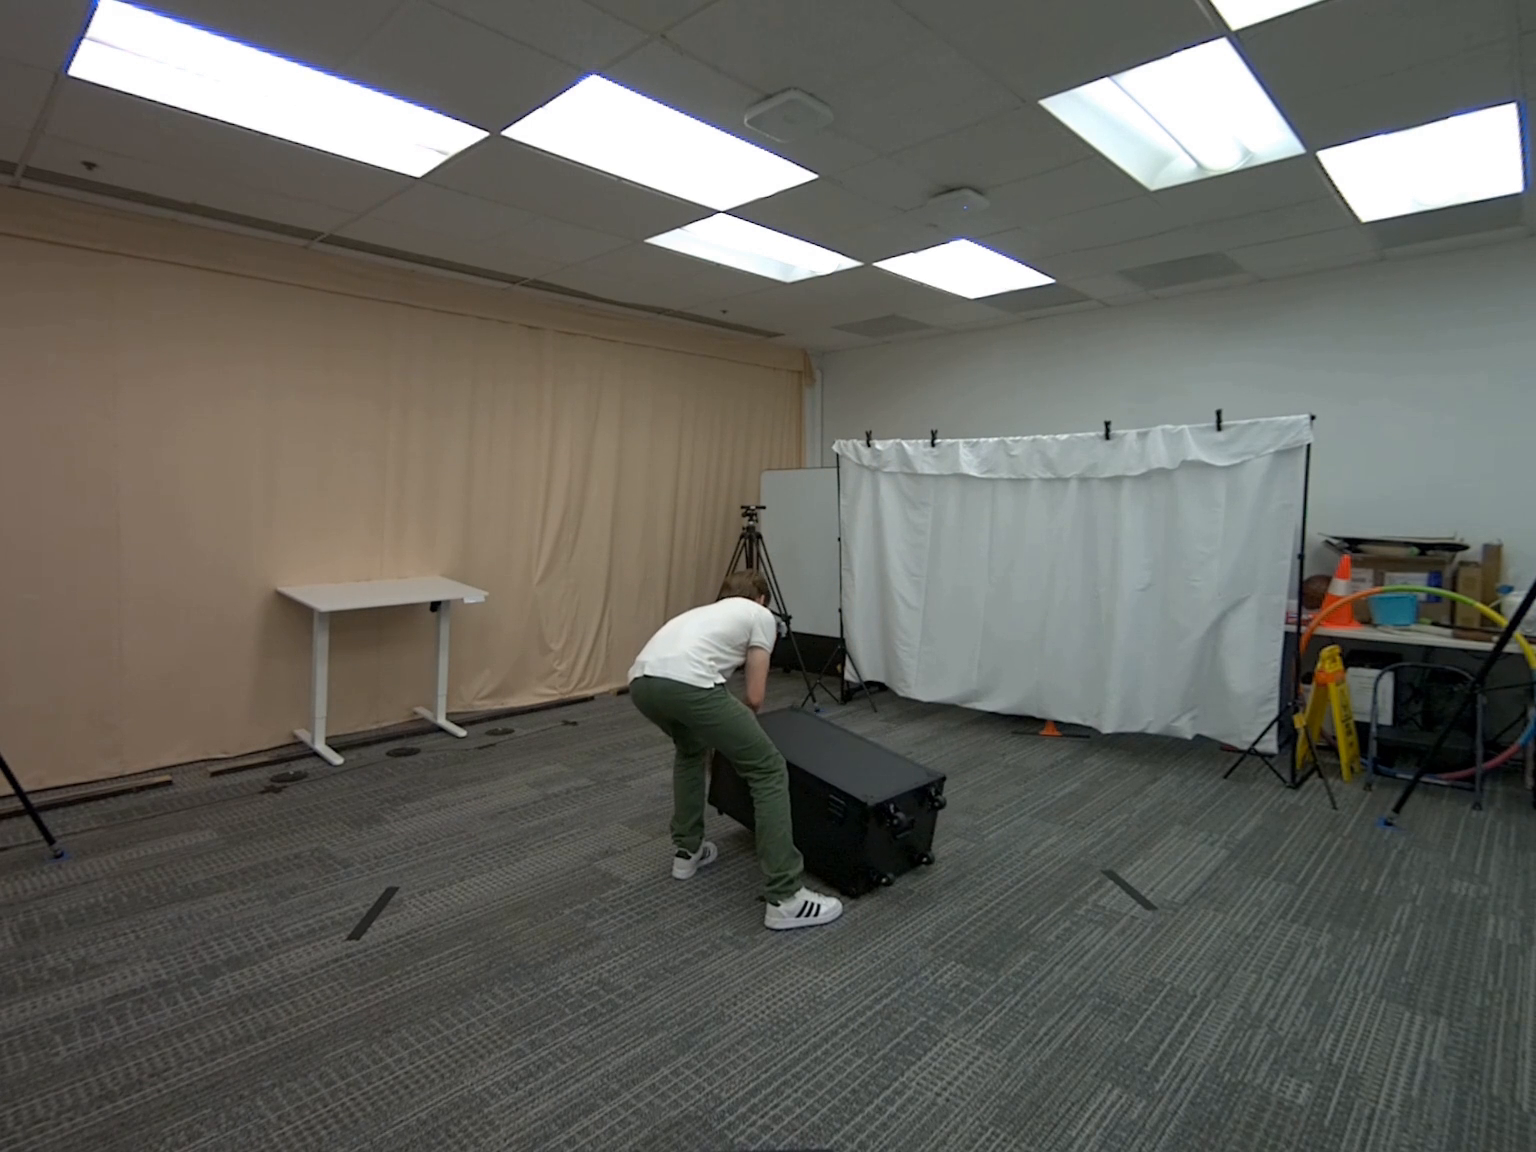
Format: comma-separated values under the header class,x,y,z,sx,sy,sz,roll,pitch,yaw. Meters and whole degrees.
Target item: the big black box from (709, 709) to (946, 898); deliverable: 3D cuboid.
class,x,y,z,sx,sy,sz,roll,pitch,yaw
big black box,0.246,0.871,3.349,0.505,0.394,0.893,-5,16,-45
